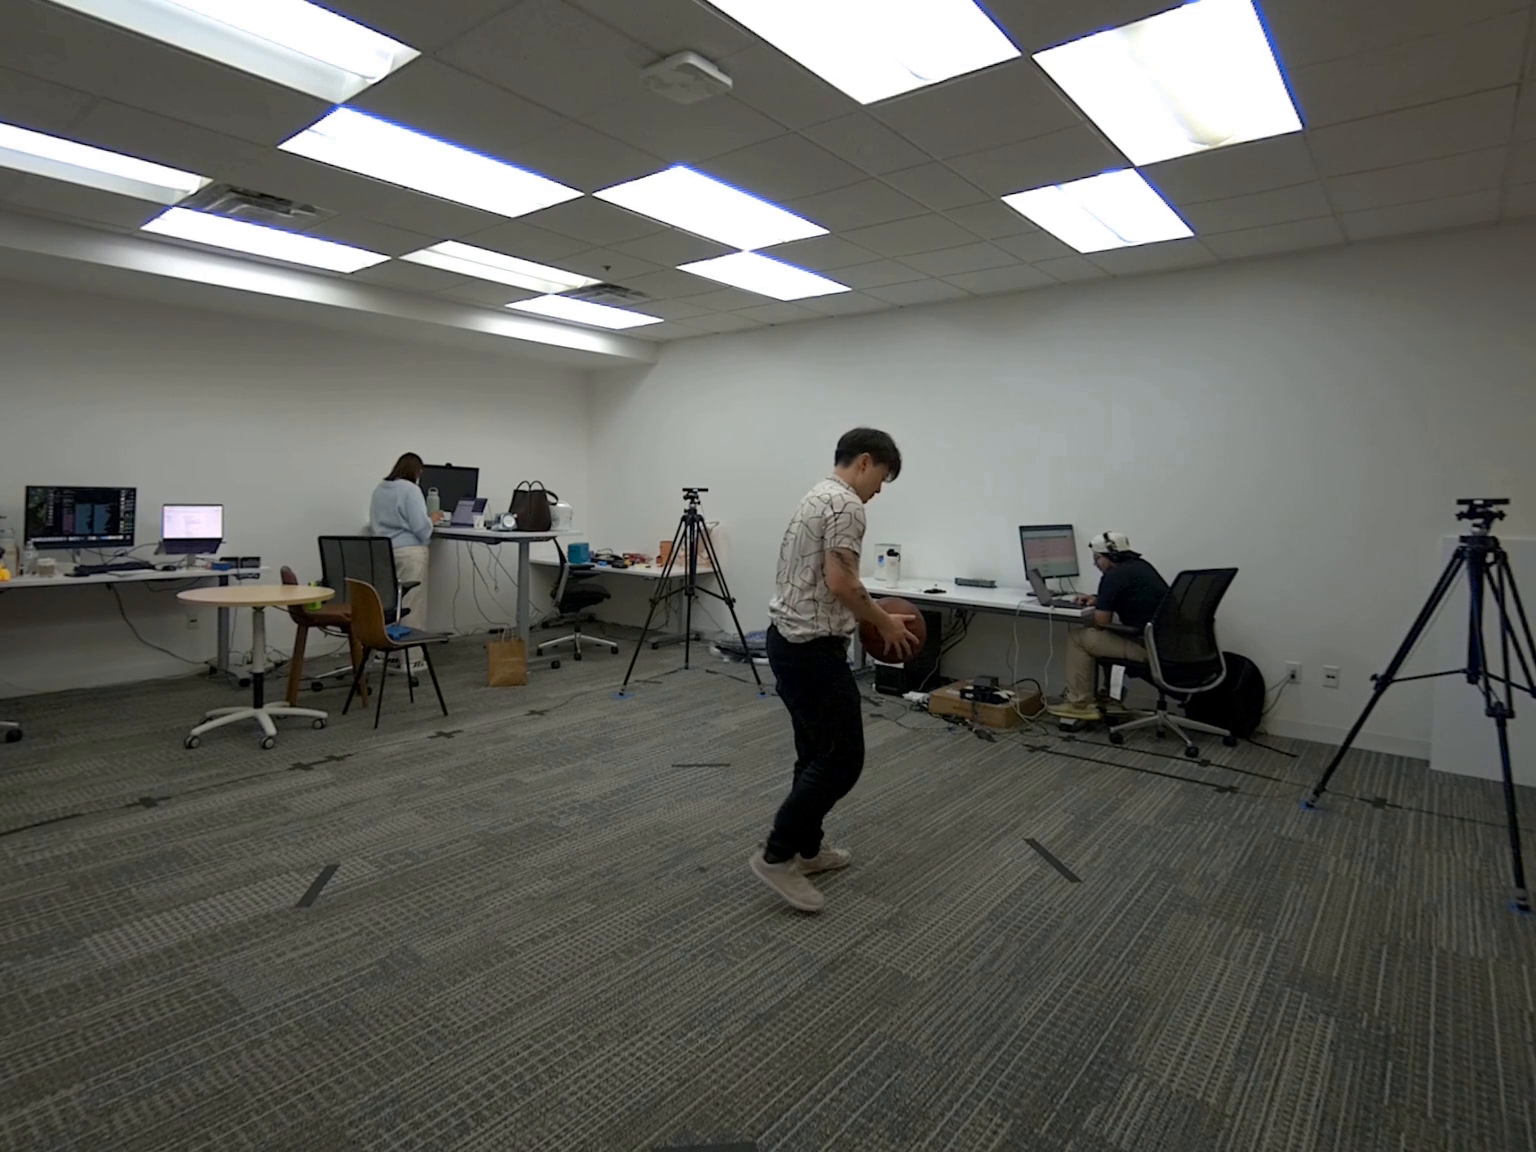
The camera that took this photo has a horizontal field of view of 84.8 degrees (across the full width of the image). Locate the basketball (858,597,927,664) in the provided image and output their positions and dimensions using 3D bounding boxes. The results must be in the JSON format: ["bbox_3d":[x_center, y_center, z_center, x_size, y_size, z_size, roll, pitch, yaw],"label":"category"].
[{"bbox_3d":[0.445,0.194,3.051,0.235,0.235,0.237,1,4,-2],"label":"basketball"}]
